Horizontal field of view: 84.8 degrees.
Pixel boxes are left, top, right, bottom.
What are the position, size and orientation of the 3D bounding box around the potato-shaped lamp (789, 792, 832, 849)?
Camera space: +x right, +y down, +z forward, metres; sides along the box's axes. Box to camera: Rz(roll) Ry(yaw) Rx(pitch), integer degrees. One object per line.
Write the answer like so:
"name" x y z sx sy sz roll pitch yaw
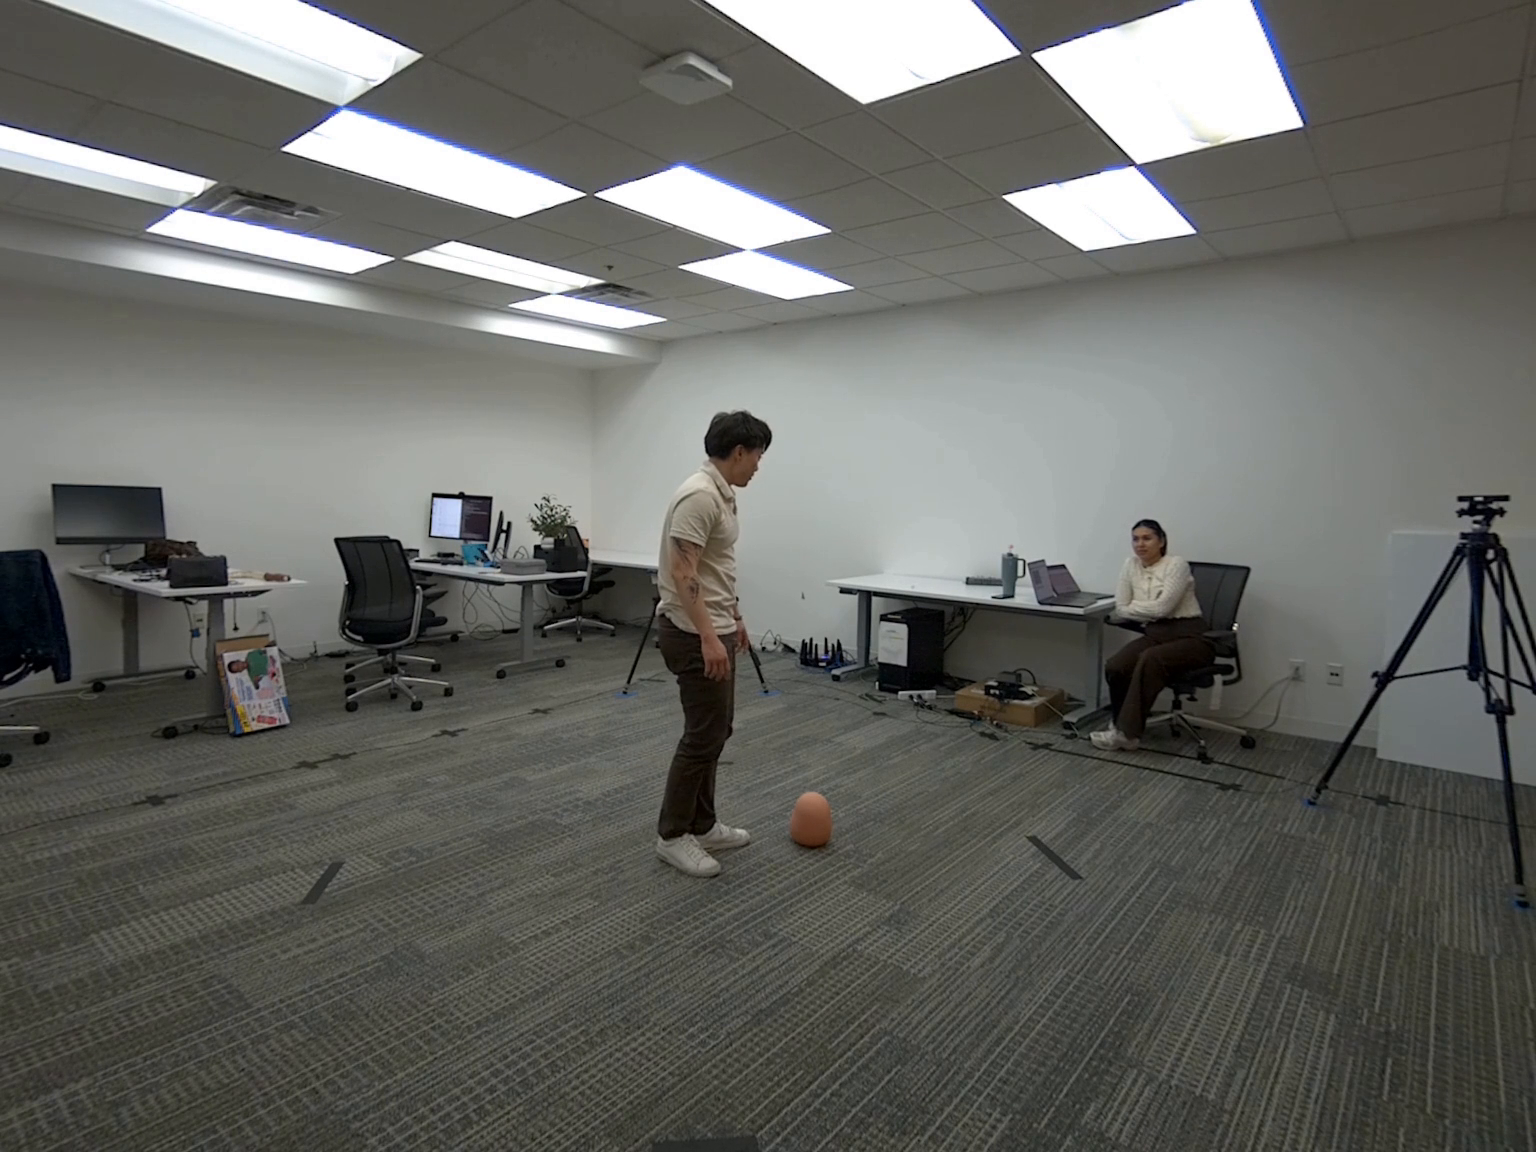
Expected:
"potato-shaped lamp" 0.164 0.947 3.354 0.163 0.197 0.174 3 3 -11
